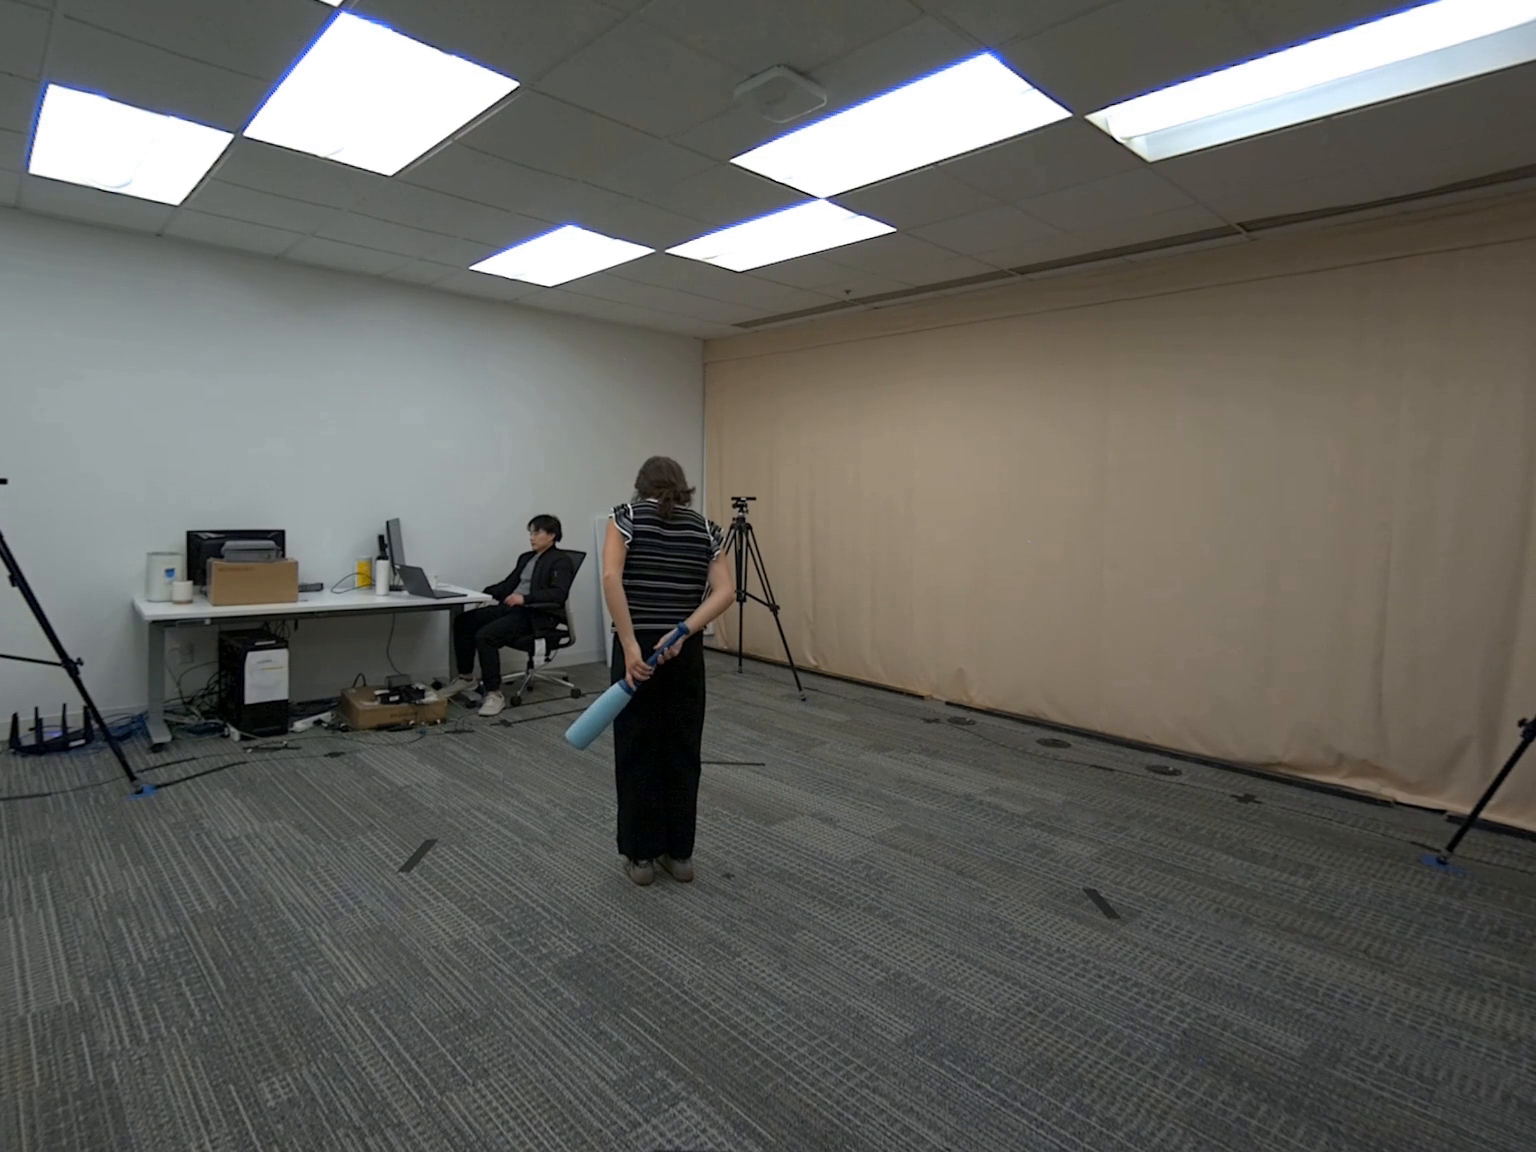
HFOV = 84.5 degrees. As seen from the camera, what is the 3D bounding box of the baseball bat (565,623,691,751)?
[{"bbox_3d":[-0.476,0.373,2.793,0.089,0.543,0.089,42,-2,0],"label":"baseball bat"}]
